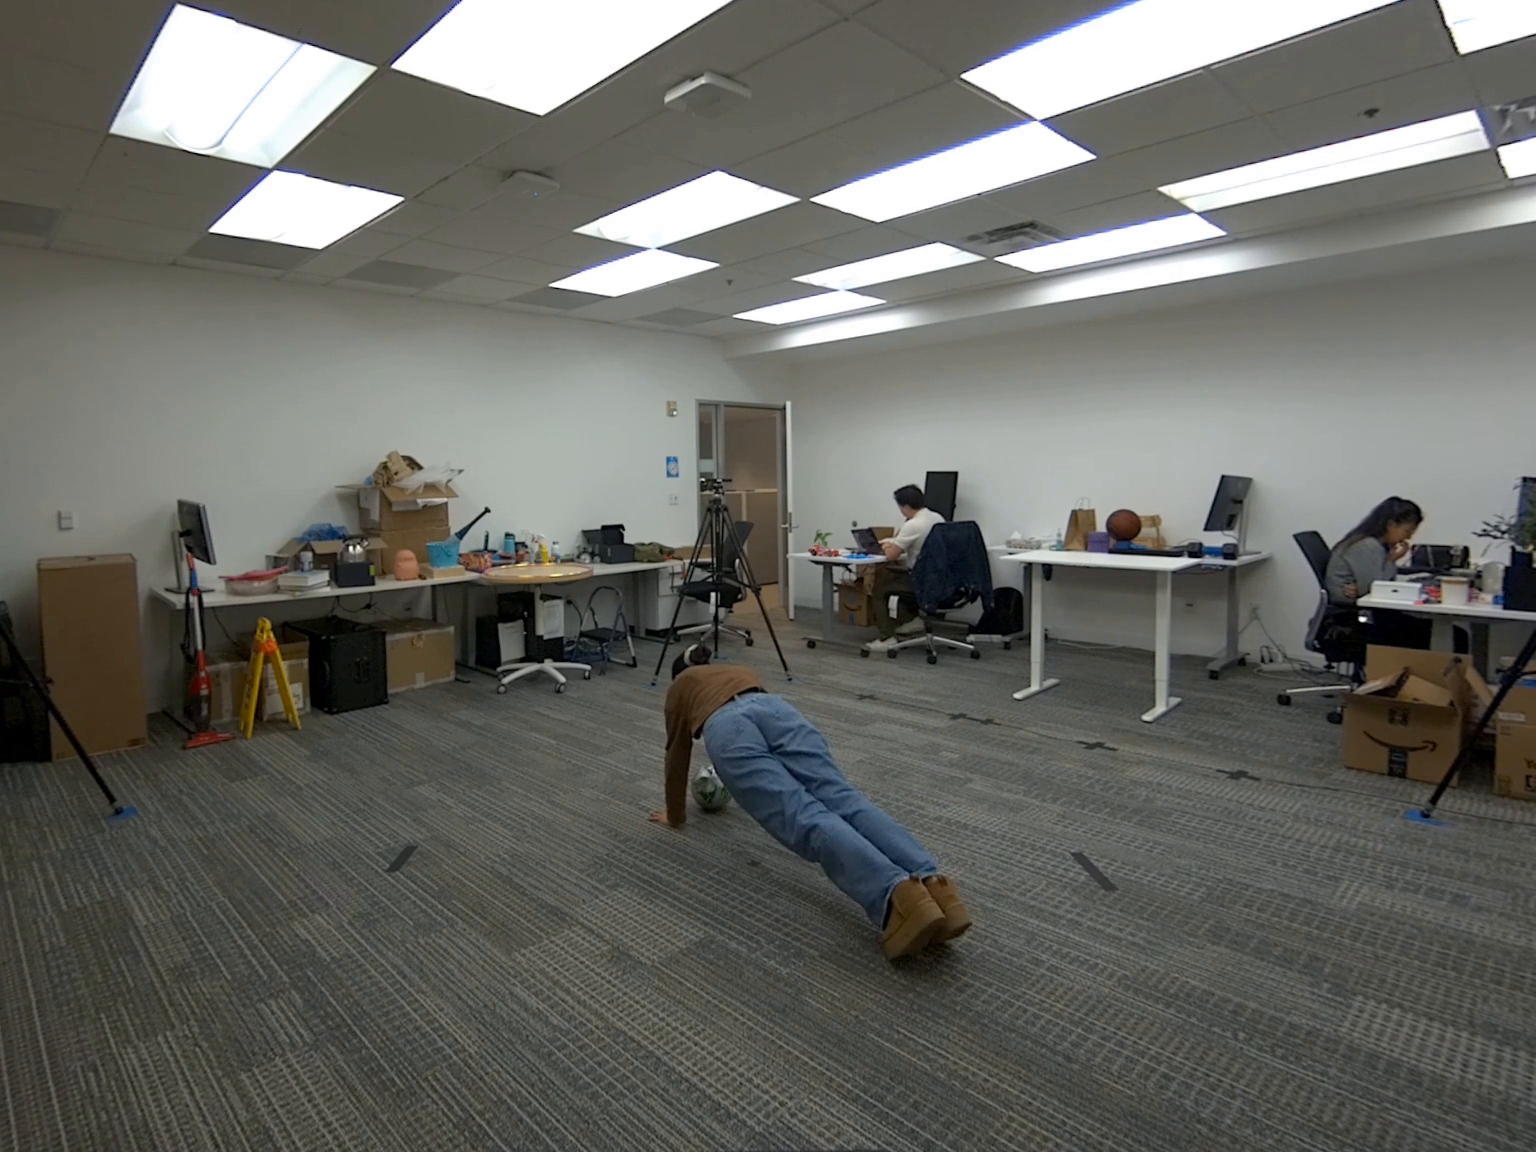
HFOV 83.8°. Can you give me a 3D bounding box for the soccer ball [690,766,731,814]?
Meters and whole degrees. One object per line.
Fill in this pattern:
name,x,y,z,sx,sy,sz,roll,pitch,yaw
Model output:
soccer ball,-0.233,0.898,3.631,0.187,0.187,0.188,-1,5,-2
